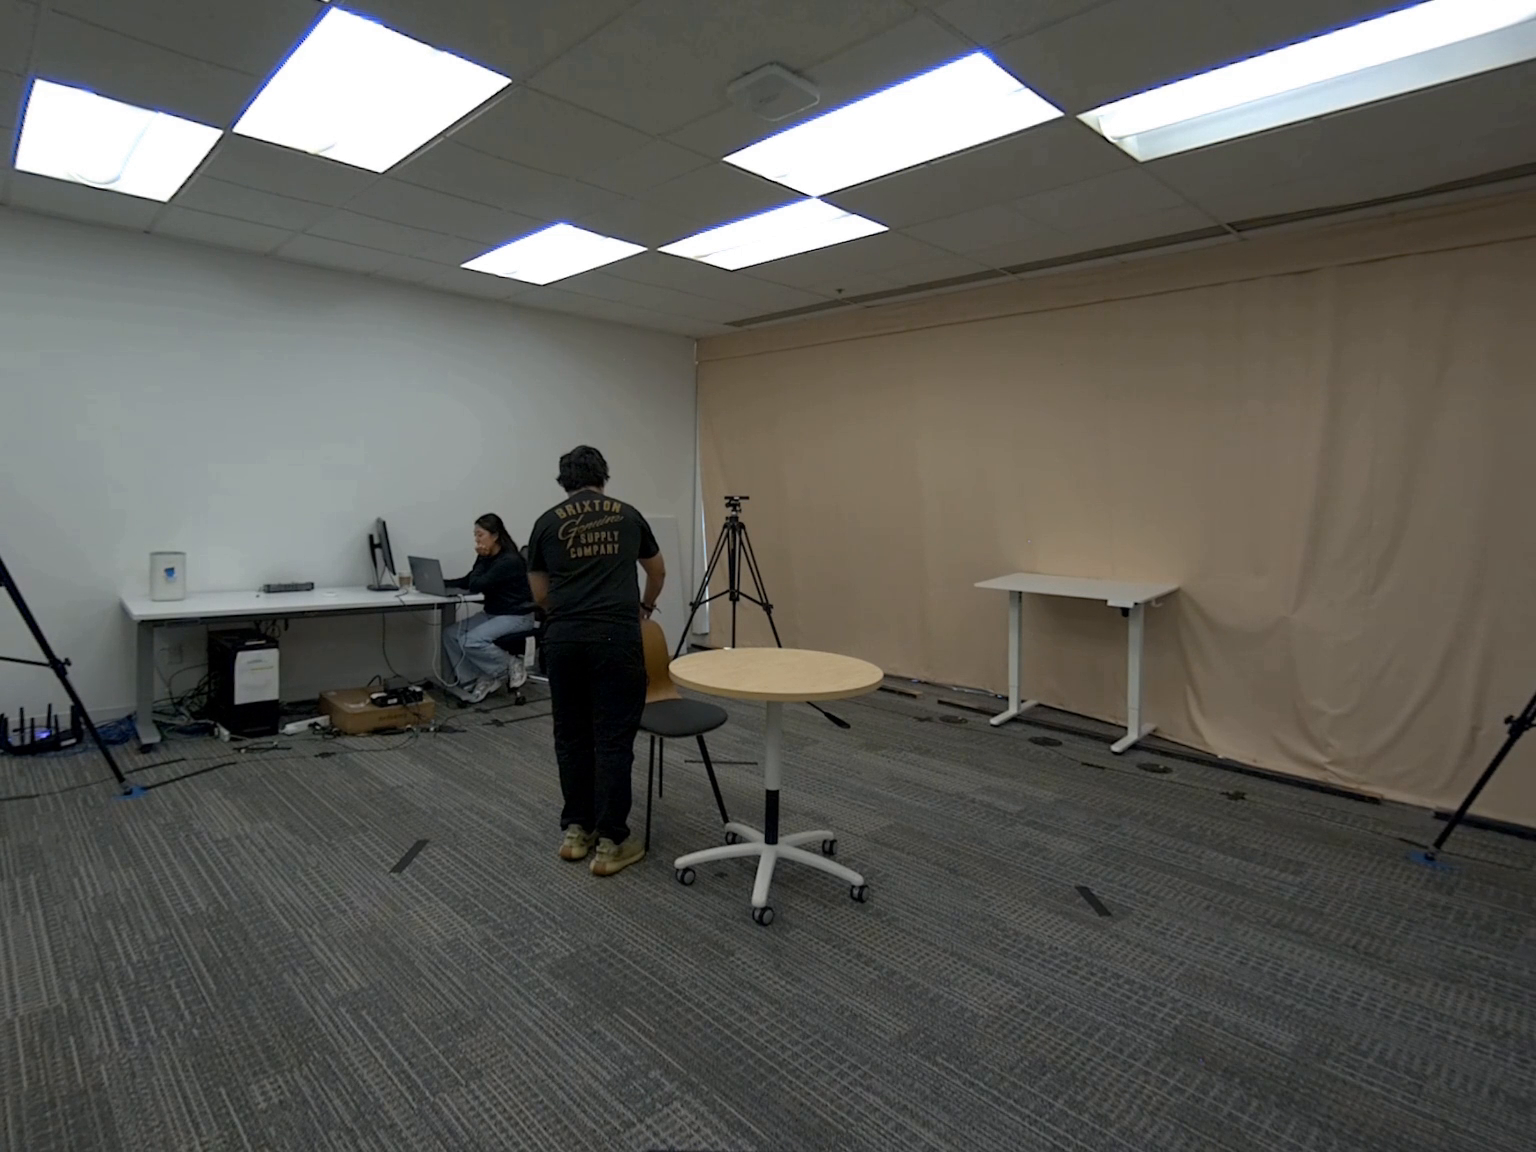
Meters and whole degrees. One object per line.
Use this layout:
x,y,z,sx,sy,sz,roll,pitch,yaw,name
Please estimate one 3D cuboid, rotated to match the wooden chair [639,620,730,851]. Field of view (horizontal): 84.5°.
-0.473,0.625,3.576,0.535,0.878,0.467,-2,0,44,wooden chair
